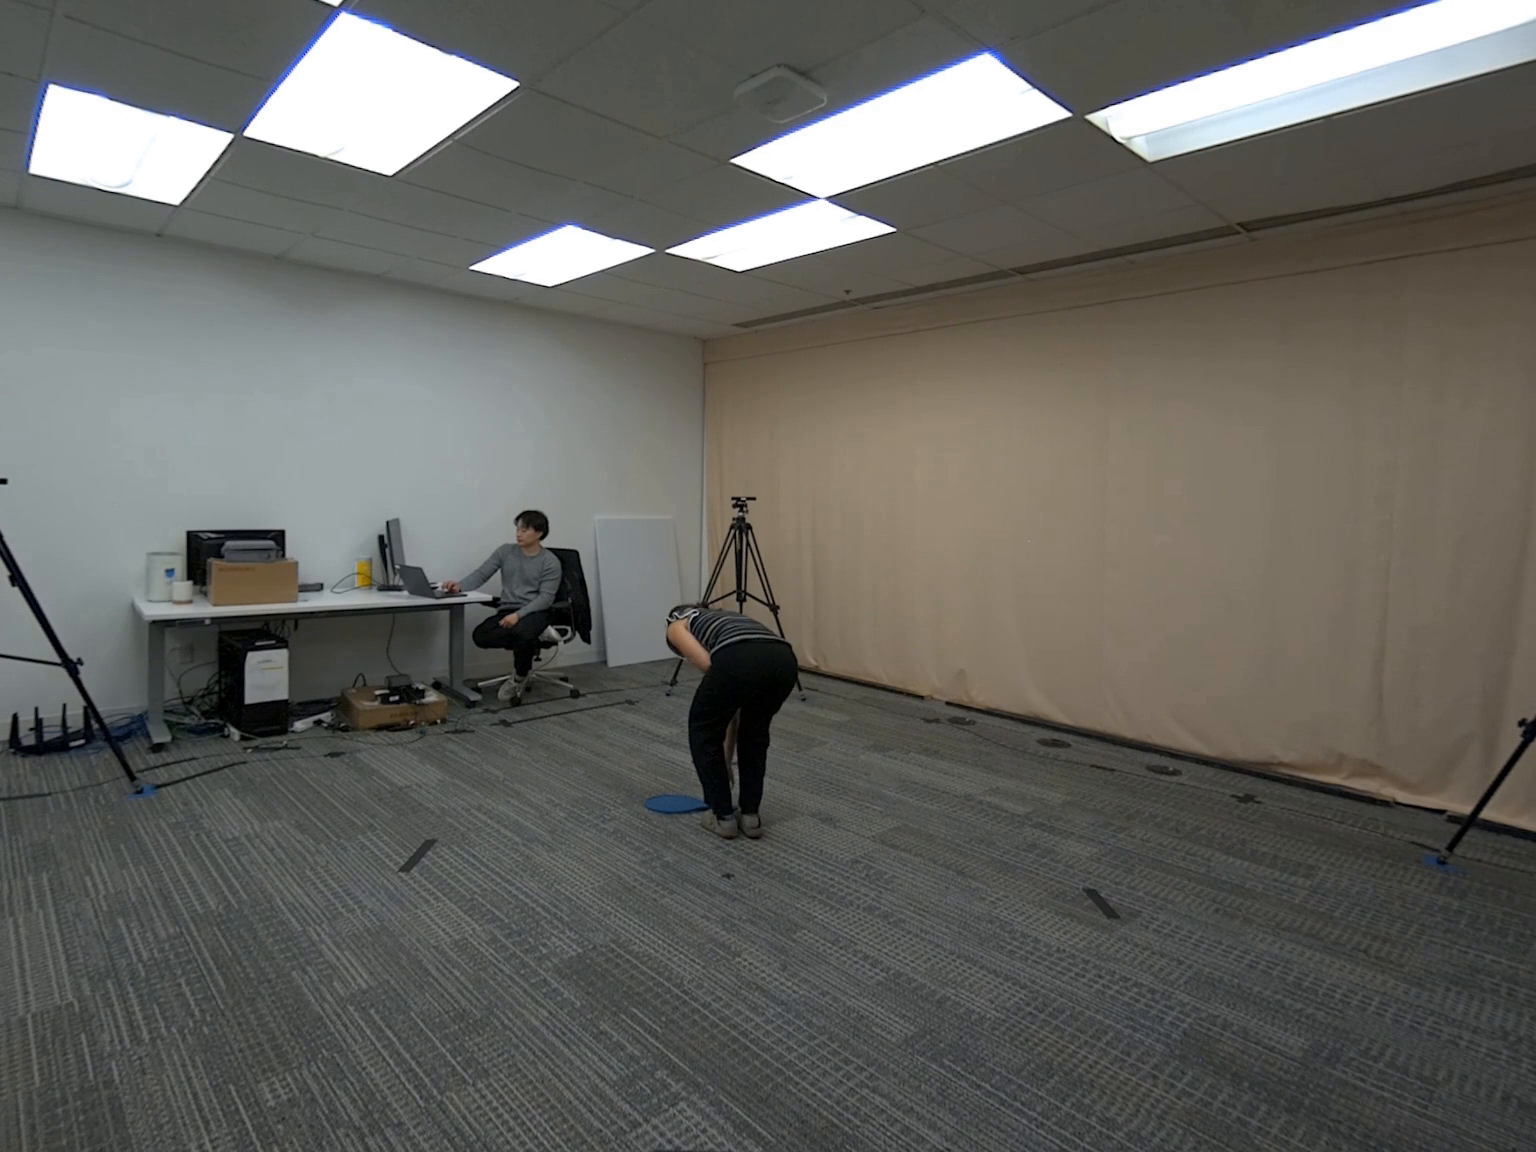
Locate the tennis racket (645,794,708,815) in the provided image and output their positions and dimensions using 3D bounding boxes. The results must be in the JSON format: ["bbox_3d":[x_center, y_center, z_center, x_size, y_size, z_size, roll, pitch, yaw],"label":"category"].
[{"bbox_3d":[-0.349,1.027,3.779,0.437,0.031,0.212,1,5,10],"label":"tennis racket"}]
